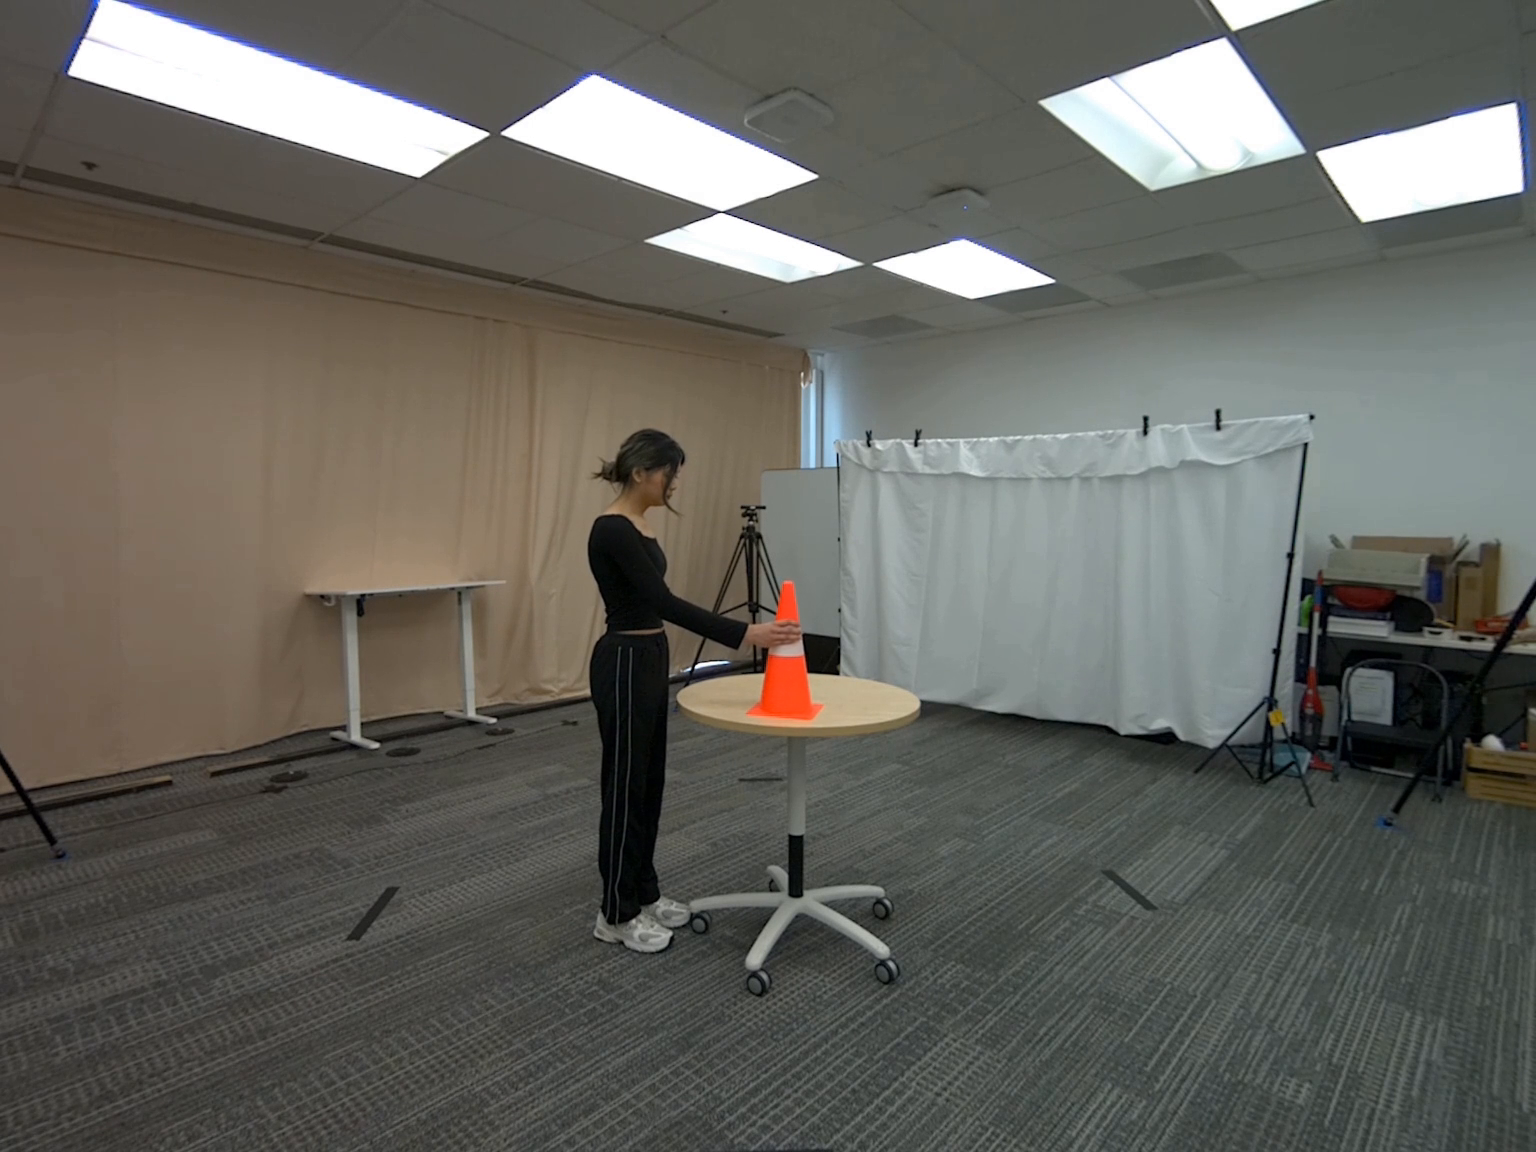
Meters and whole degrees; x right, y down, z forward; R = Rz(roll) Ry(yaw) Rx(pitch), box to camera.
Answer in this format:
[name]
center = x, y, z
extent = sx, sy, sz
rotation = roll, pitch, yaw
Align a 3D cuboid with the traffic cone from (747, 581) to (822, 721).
[traffic cone]
center = 0.055, 0.210, 2.497
extent = 0.207, 0.383, 0.202
rotation = -1, 3, 16
